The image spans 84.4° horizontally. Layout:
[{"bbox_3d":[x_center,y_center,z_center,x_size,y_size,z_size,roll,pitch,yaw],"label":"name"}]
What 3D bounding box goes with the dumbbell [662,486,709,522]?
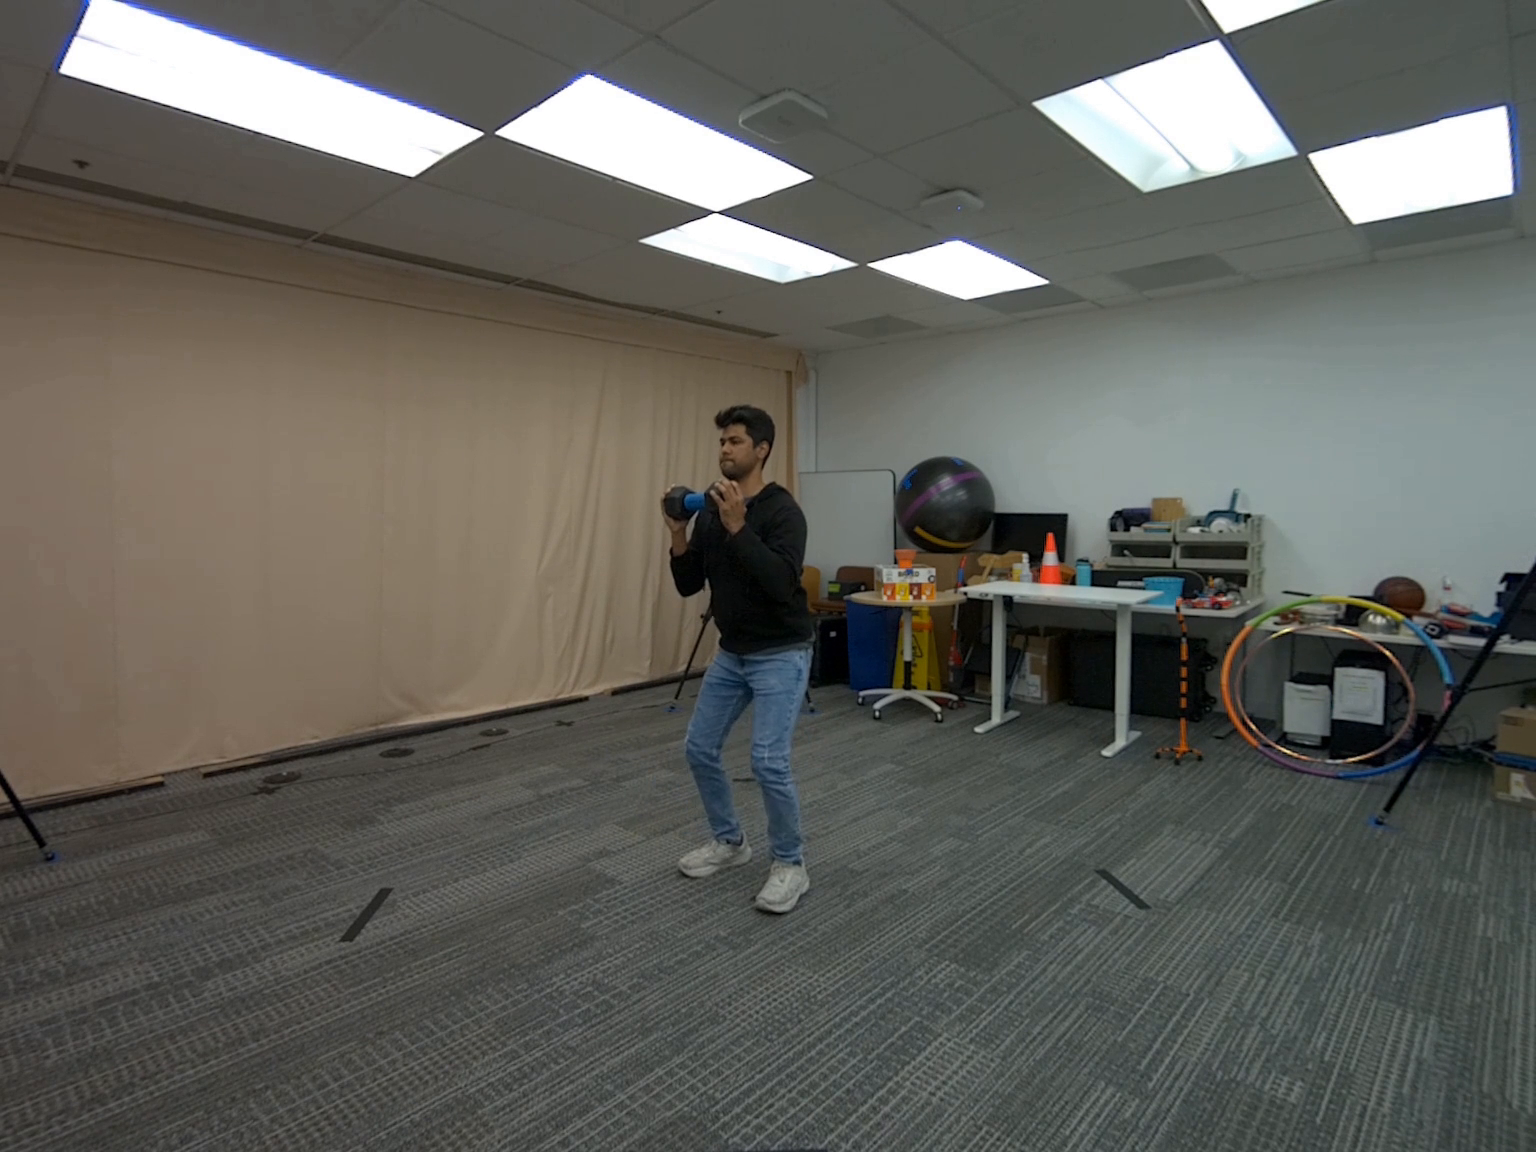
[{"bbox_3d":[-0.224,-0.247,2.932,0.303,0.122,0.106,1,11,43],"label":"dumbbell"}]
